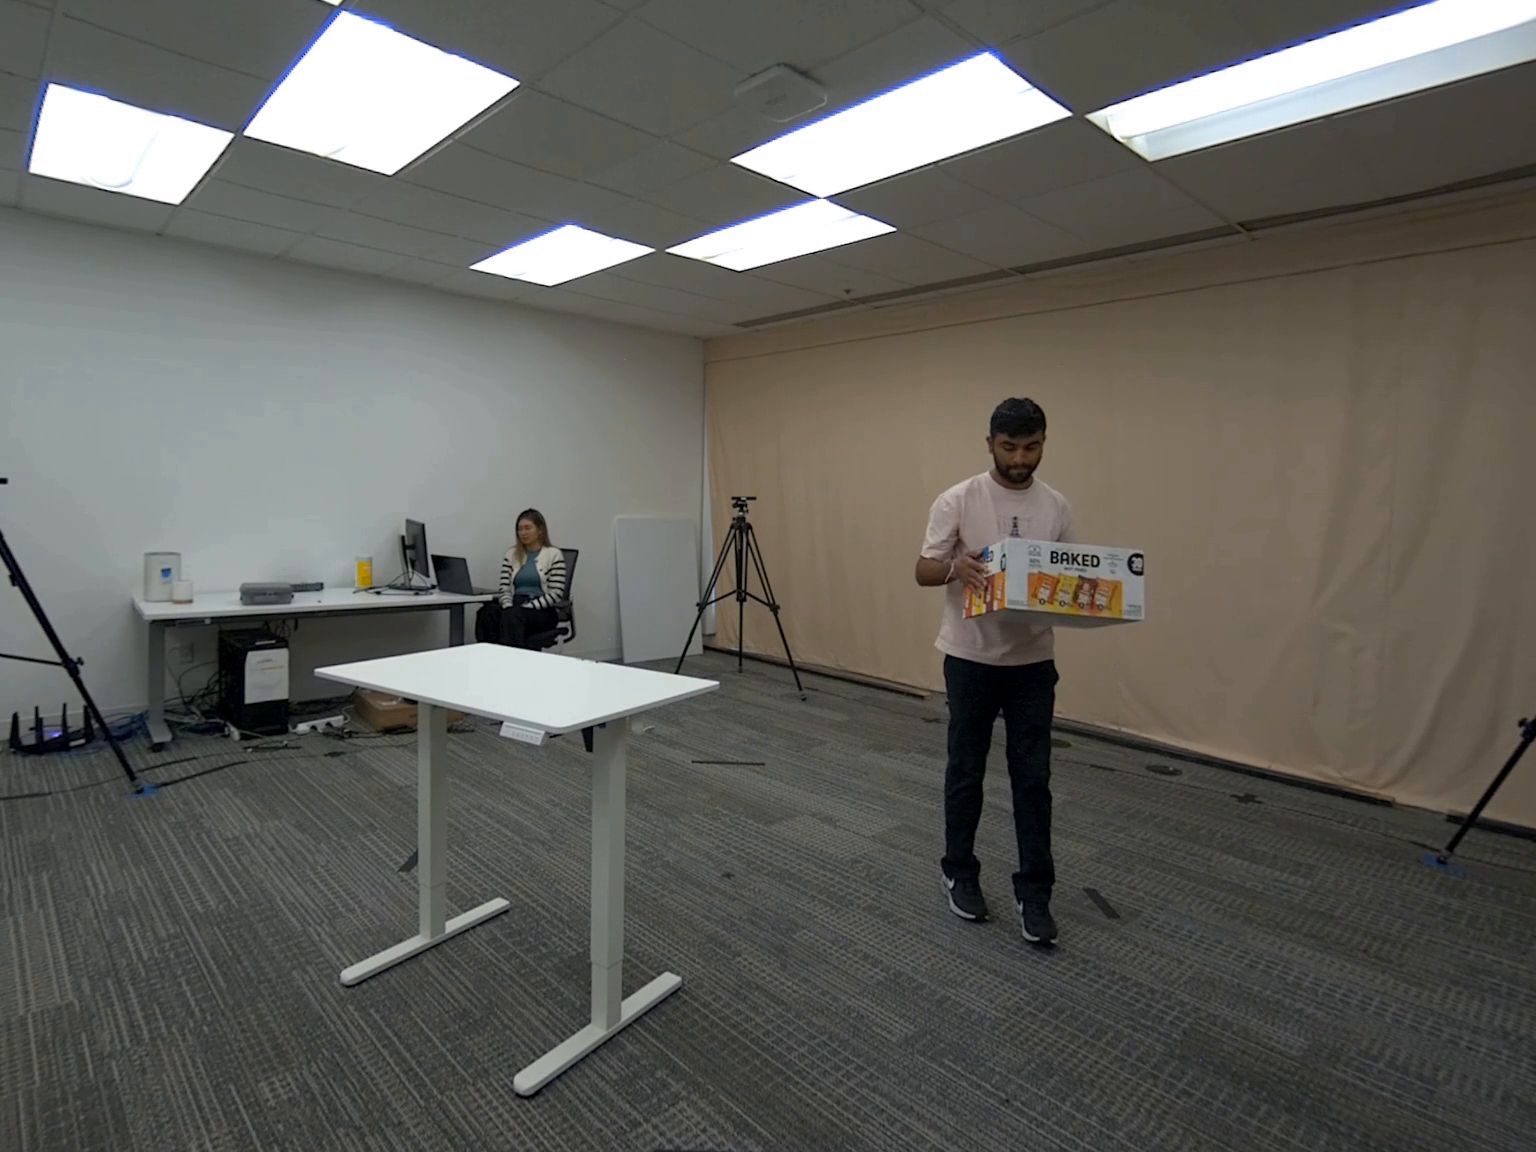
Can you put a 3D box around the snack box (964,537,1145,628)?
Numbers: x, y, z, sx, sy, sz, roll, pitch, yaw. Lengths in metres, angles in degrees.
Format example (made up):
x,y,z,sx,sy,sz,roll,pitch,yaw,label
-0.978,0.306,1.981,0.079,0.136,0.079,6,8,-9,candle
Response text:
x,y,z,sx,sy,sz,roll,pitch,yaw,label
0.837,0.030,2.532,0.403,0.207,0.340,6,-8,-5,snack box
